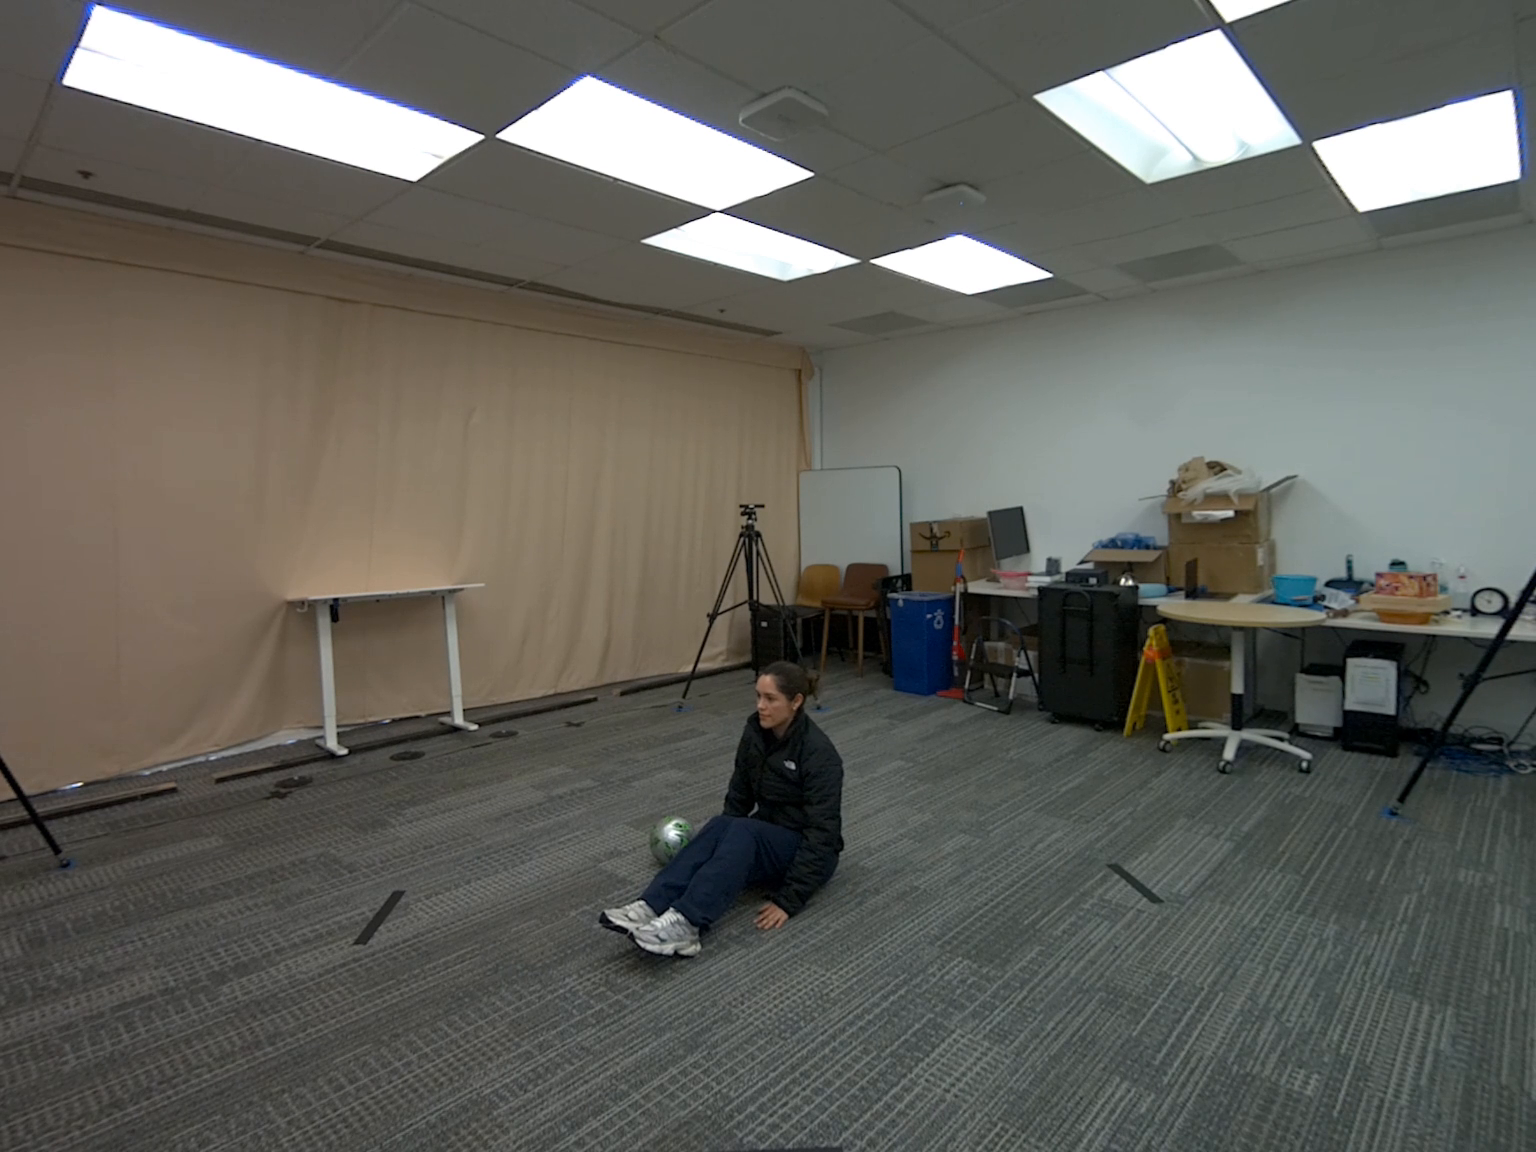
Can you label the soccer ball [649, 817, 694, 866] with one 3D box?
[{"bbox_3d":[-0.365,1.032,3.268,0.187,0.187,0.188,-1,4,-2],"label":"soccer ball"}]
